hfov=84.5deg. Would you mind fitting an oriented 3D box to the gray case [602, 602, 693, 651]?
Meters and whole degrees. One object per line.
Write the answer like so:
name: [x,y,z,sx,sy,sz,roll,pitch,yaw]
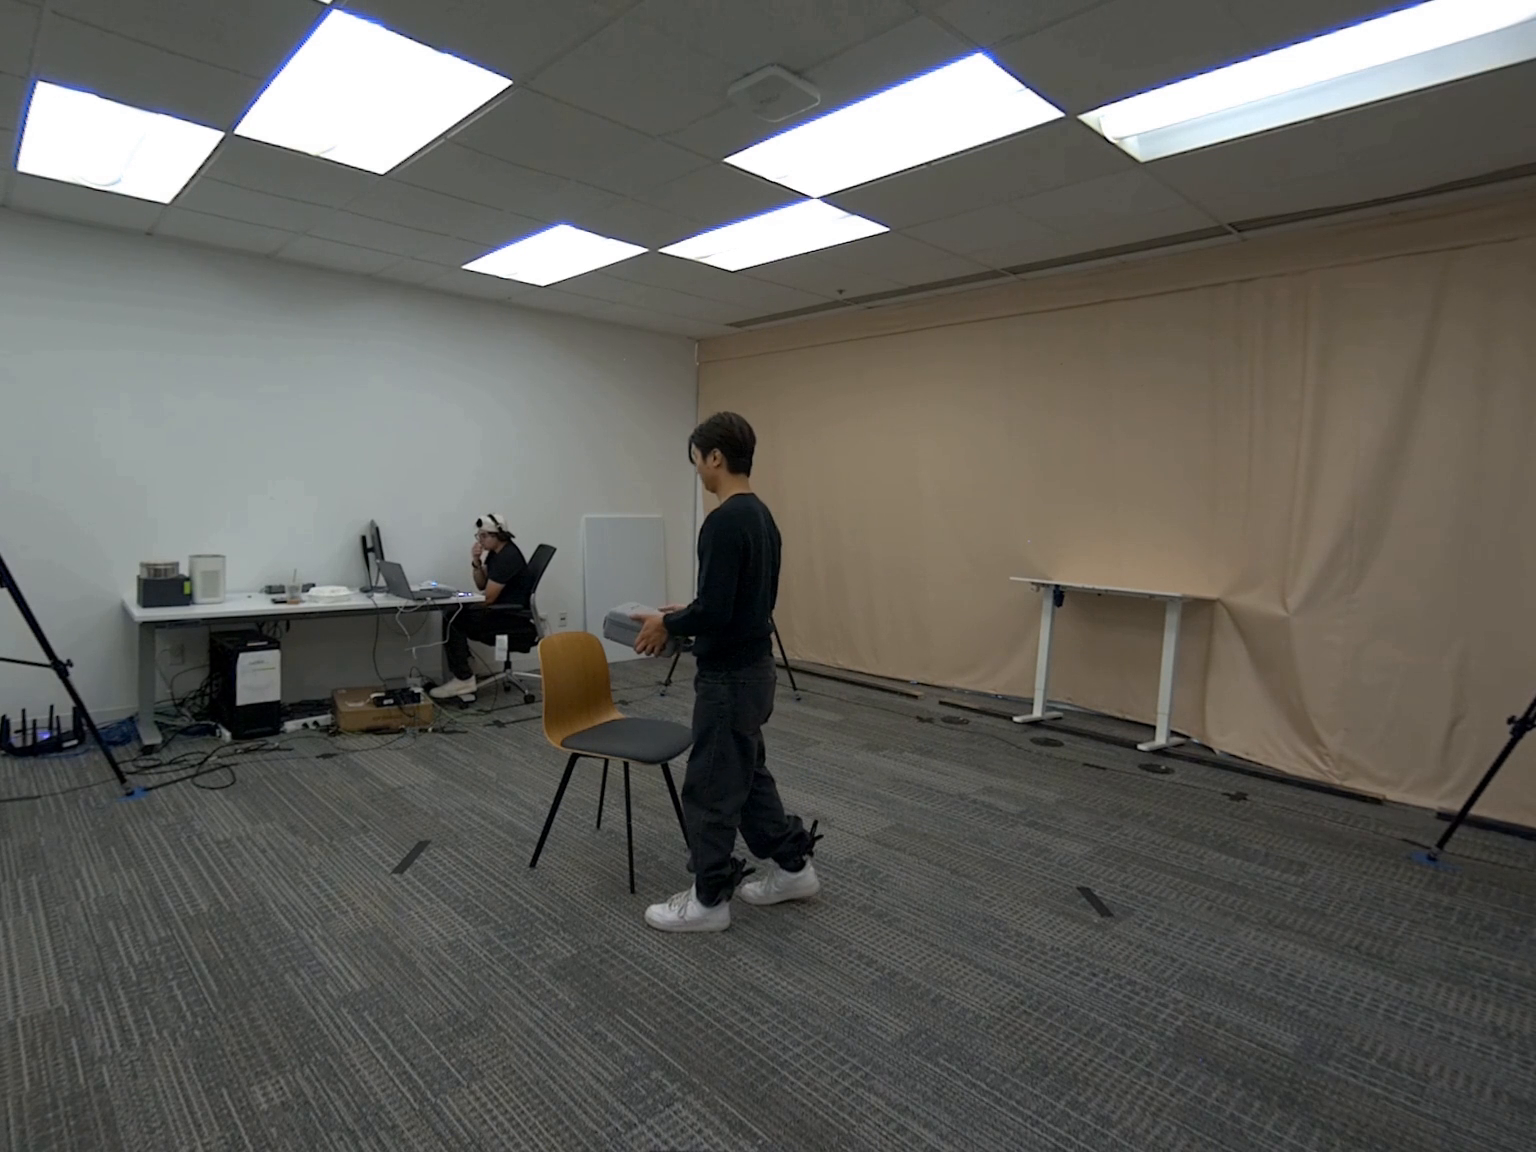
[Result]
gray case: [-0.397,0.177,2.853,0.263,0.104,0.255,16,6,11]
